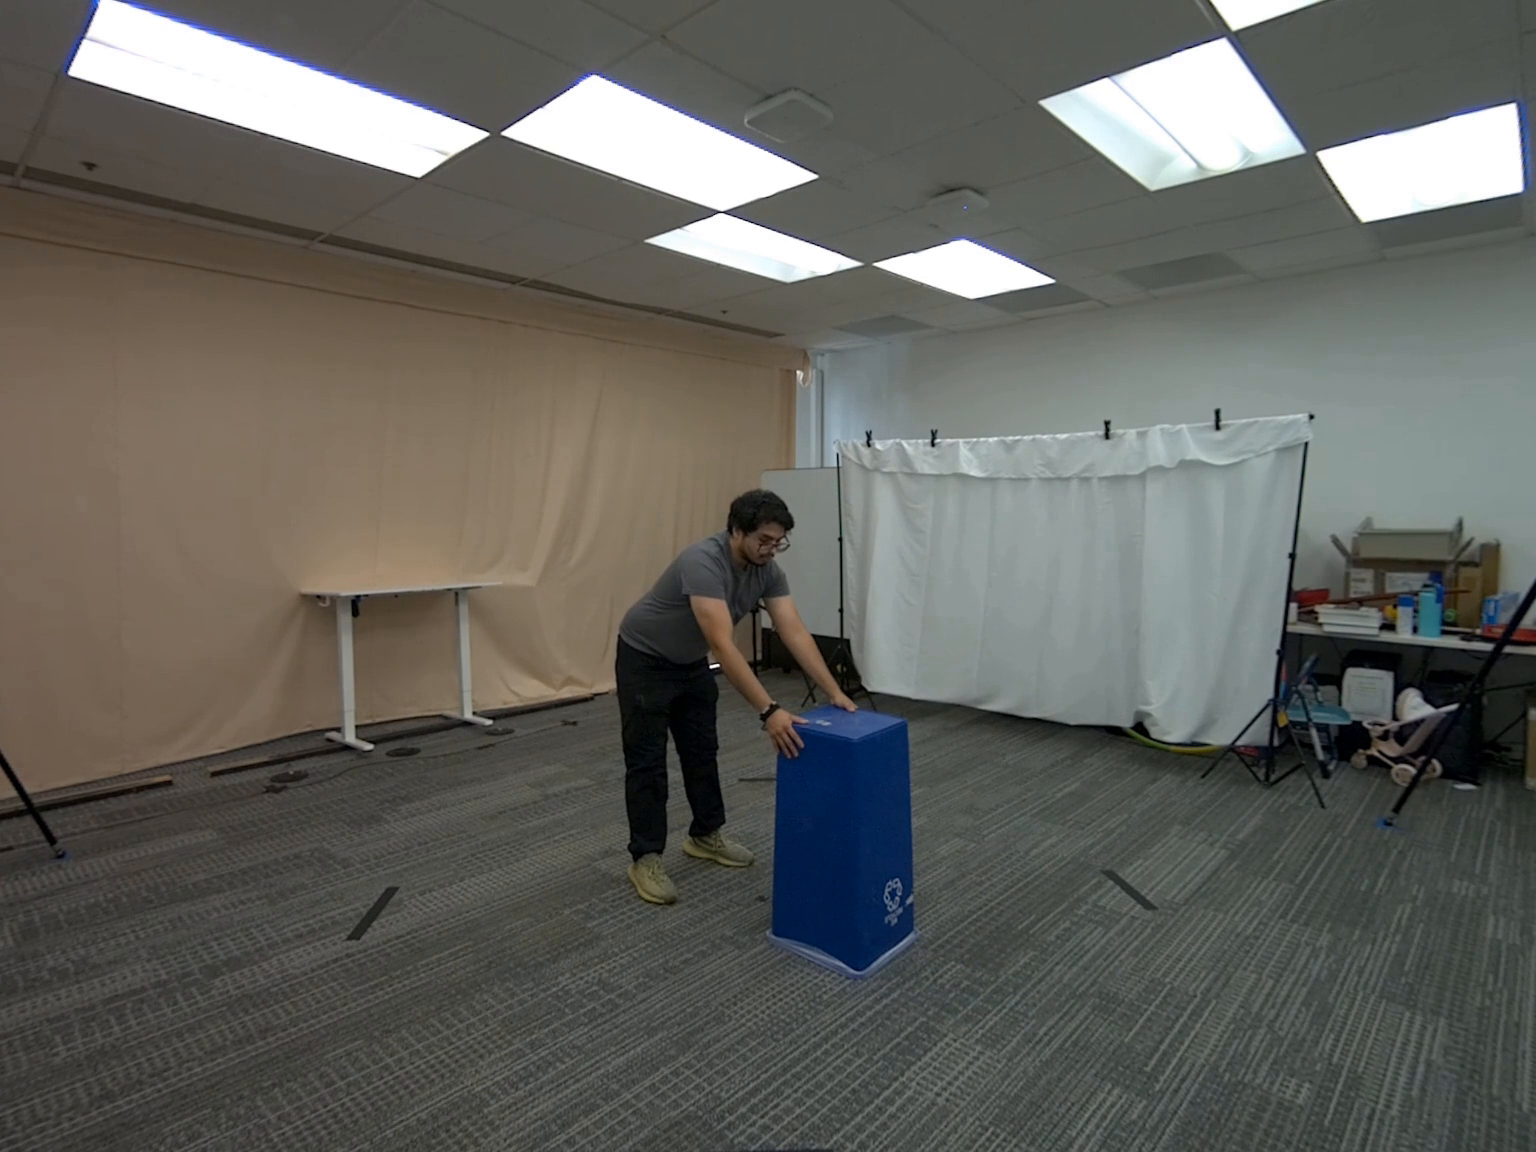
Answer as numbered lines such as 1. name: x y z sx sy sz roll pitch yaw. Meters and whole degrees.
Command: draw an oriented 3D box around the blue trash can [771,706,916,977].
1. blue trash can: 0.236 0.813 2.689 0.390 0.712 0.363 3 5 42
